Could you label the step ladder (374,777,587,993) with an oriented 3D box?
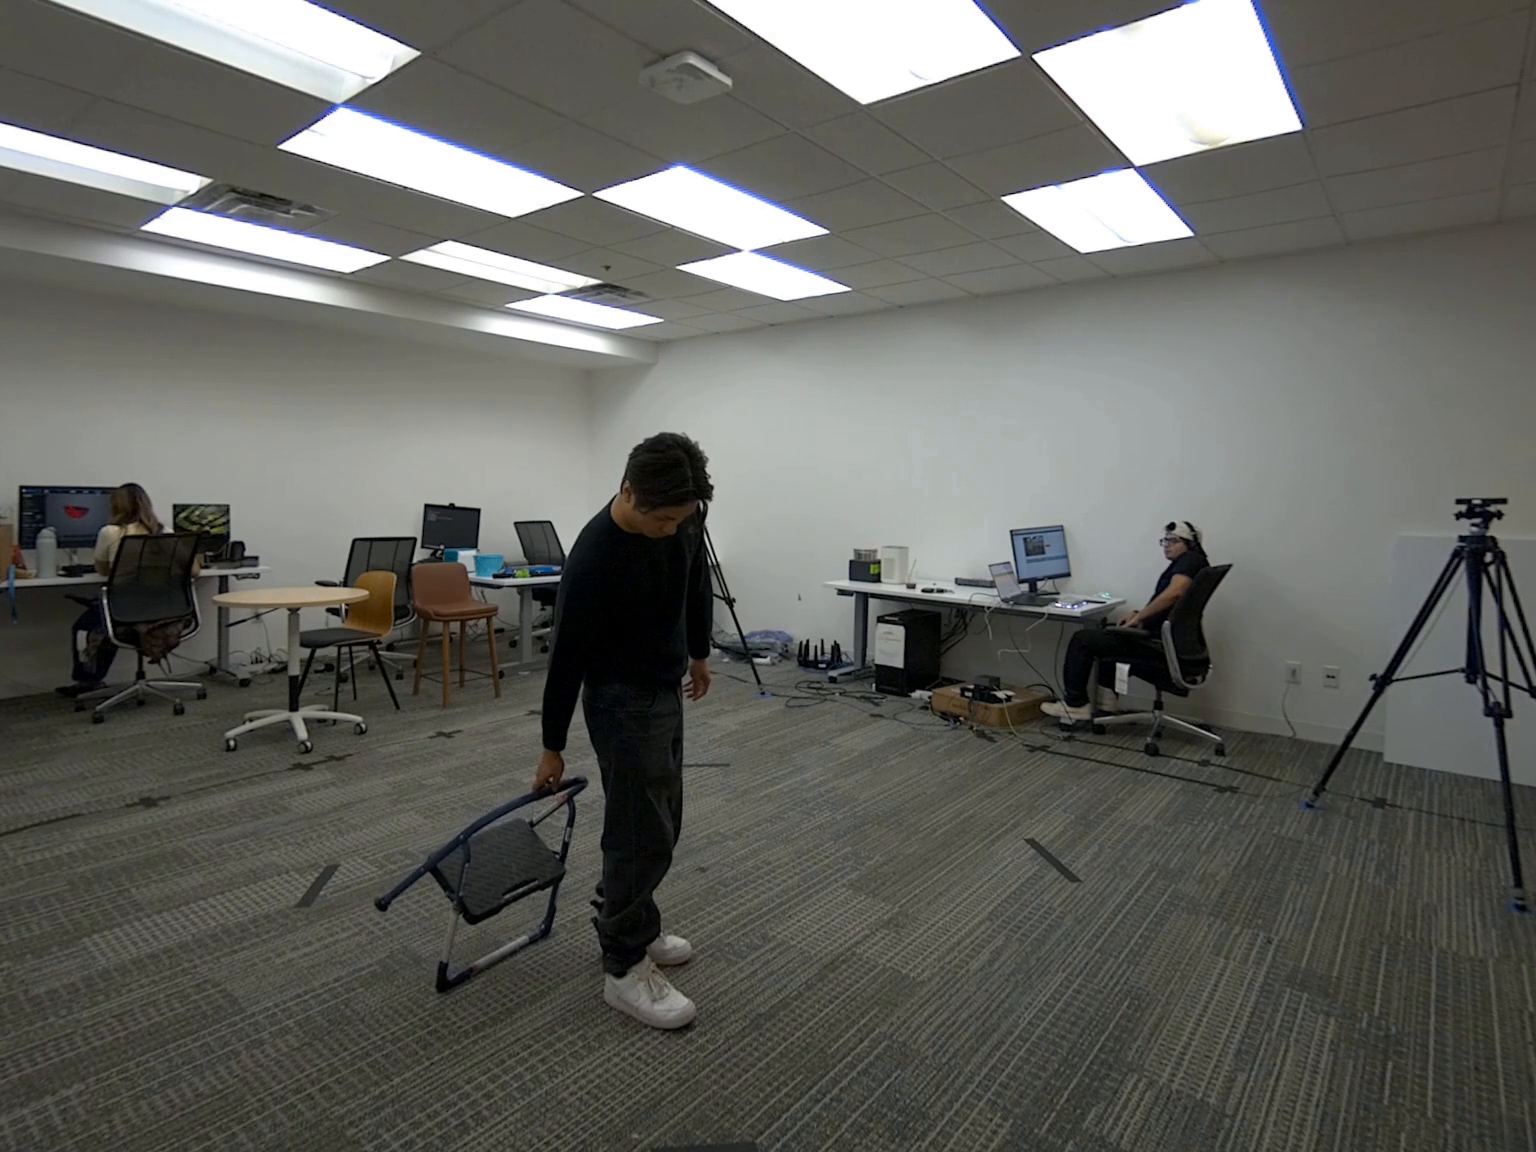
[{"bbox_3d":[-0.789,0.788,2.462,0.361,0.602,0.419,38,22,25],"label":"step ladder"}]
